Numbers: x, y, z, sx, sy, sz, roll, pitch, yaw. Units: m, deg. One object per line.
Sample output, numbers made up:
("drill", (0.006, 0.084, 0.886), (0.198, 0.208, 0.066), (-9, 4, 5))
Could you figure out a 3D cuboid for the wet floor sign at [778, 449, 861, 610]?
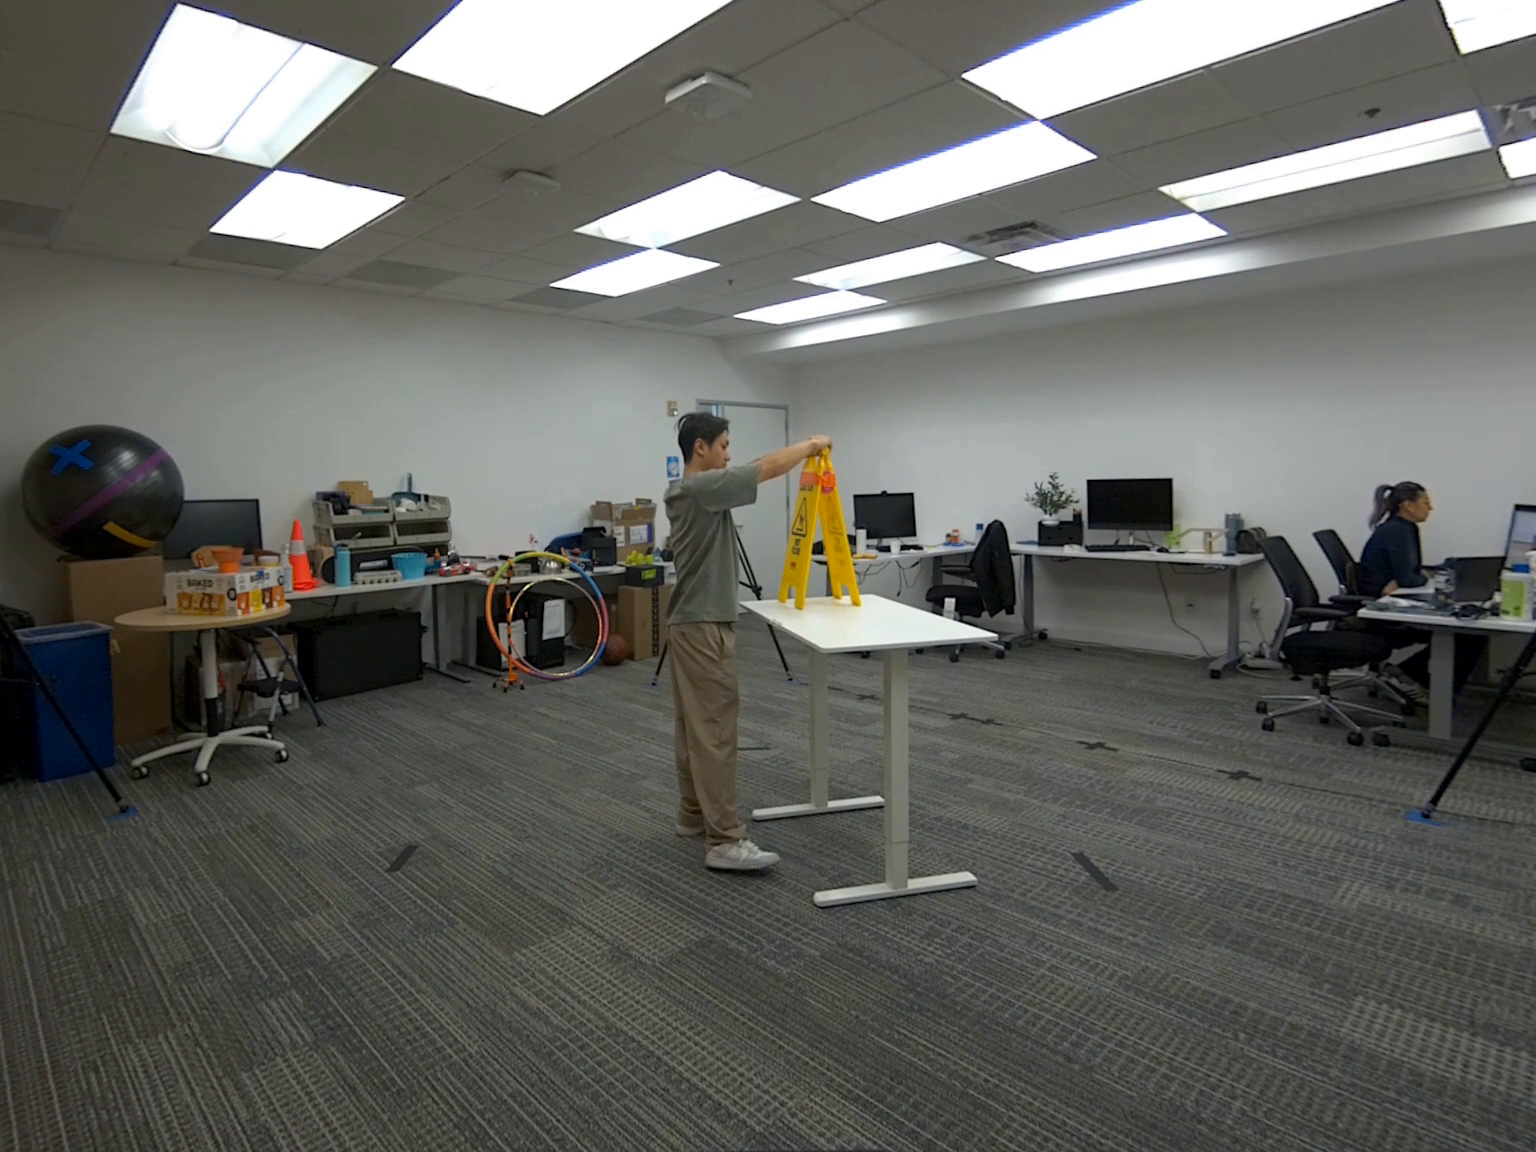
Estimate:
("wet floor sign", (0.202, -0.210, 3.468), (0.286, 0.643, 0.287), (-2, 5, -16))
